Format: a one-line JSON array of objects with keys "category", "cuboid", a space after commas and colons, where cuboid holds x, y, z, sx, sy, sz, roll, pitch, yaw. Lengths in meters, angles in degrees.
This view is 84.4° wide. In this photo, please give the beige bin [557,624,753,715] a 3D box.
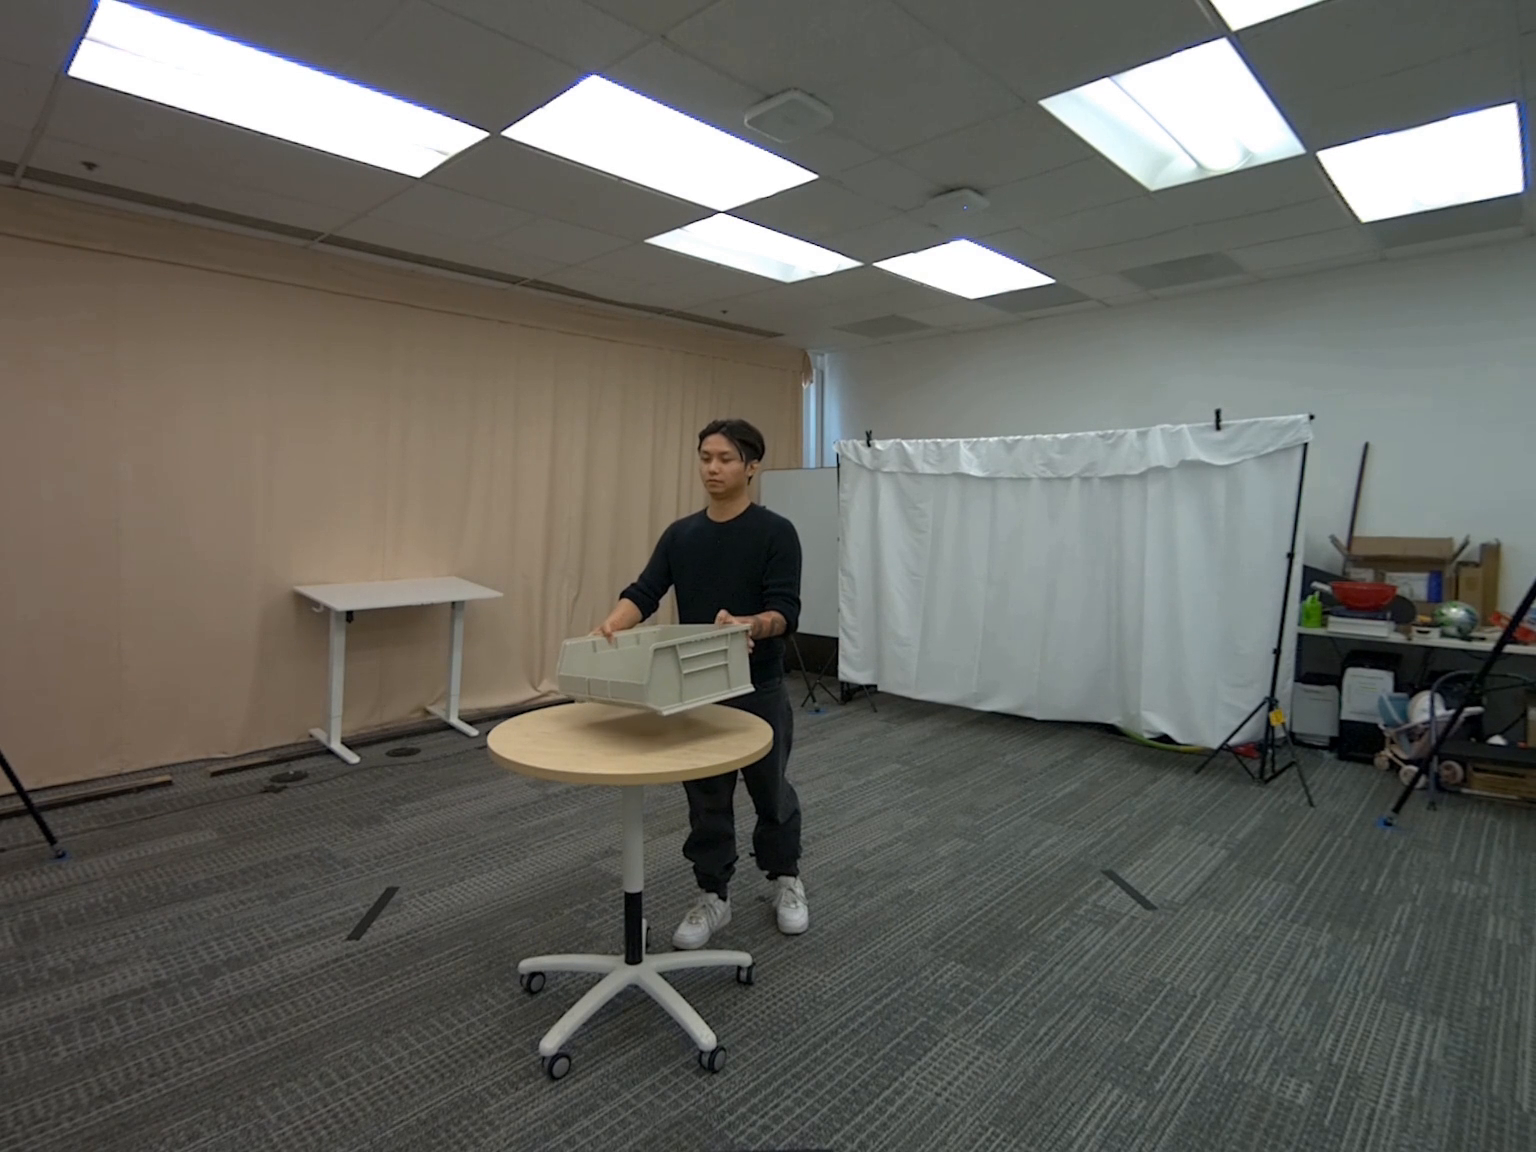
[{"category": "beige bin", "cuboid": [-0.313, 0.248, 2.292, 0.366, 0.189, 0.435, -5, 1, -42]}]
